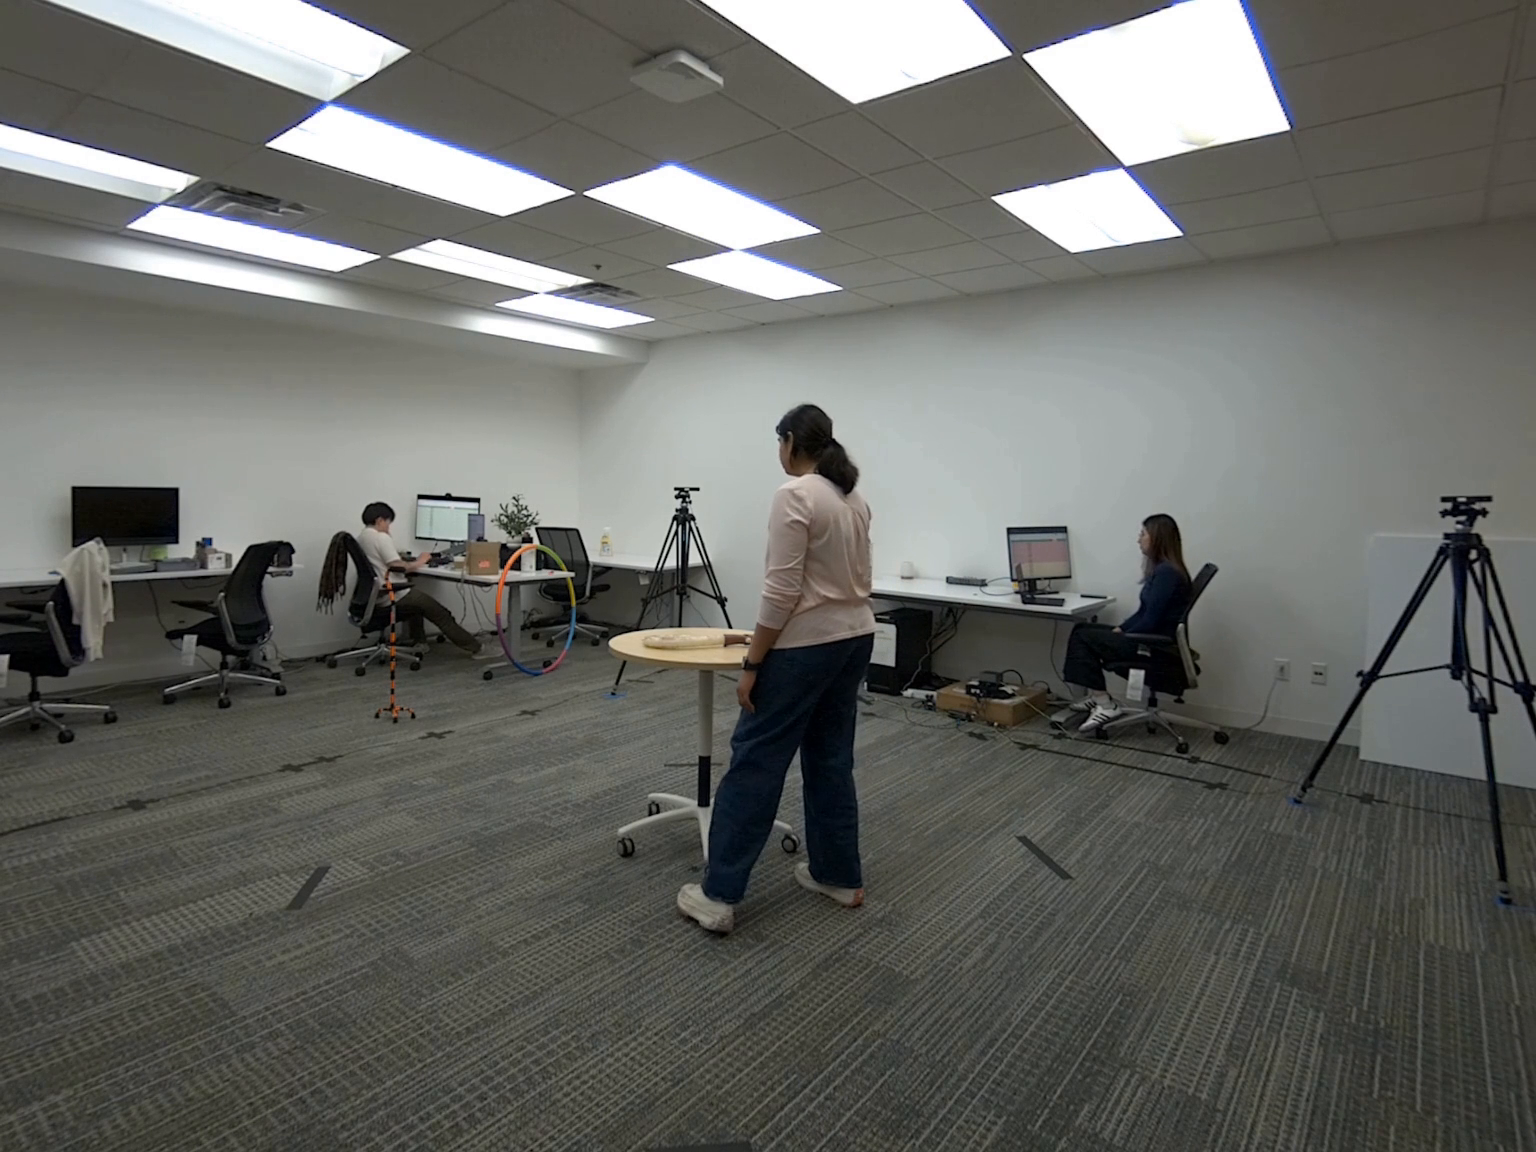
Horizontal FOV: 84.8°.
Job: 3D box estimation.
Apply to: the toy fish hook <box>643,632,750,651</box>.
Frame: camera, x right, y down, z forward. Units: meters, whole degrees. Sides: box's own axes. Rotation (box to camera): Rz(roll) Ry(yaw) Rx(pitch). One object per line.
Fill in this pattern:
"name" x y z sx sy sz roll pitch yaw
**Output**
"toy fish hook" -0.230 0.242 3.305 0.501 0.048 0.229 -1 9 -10
